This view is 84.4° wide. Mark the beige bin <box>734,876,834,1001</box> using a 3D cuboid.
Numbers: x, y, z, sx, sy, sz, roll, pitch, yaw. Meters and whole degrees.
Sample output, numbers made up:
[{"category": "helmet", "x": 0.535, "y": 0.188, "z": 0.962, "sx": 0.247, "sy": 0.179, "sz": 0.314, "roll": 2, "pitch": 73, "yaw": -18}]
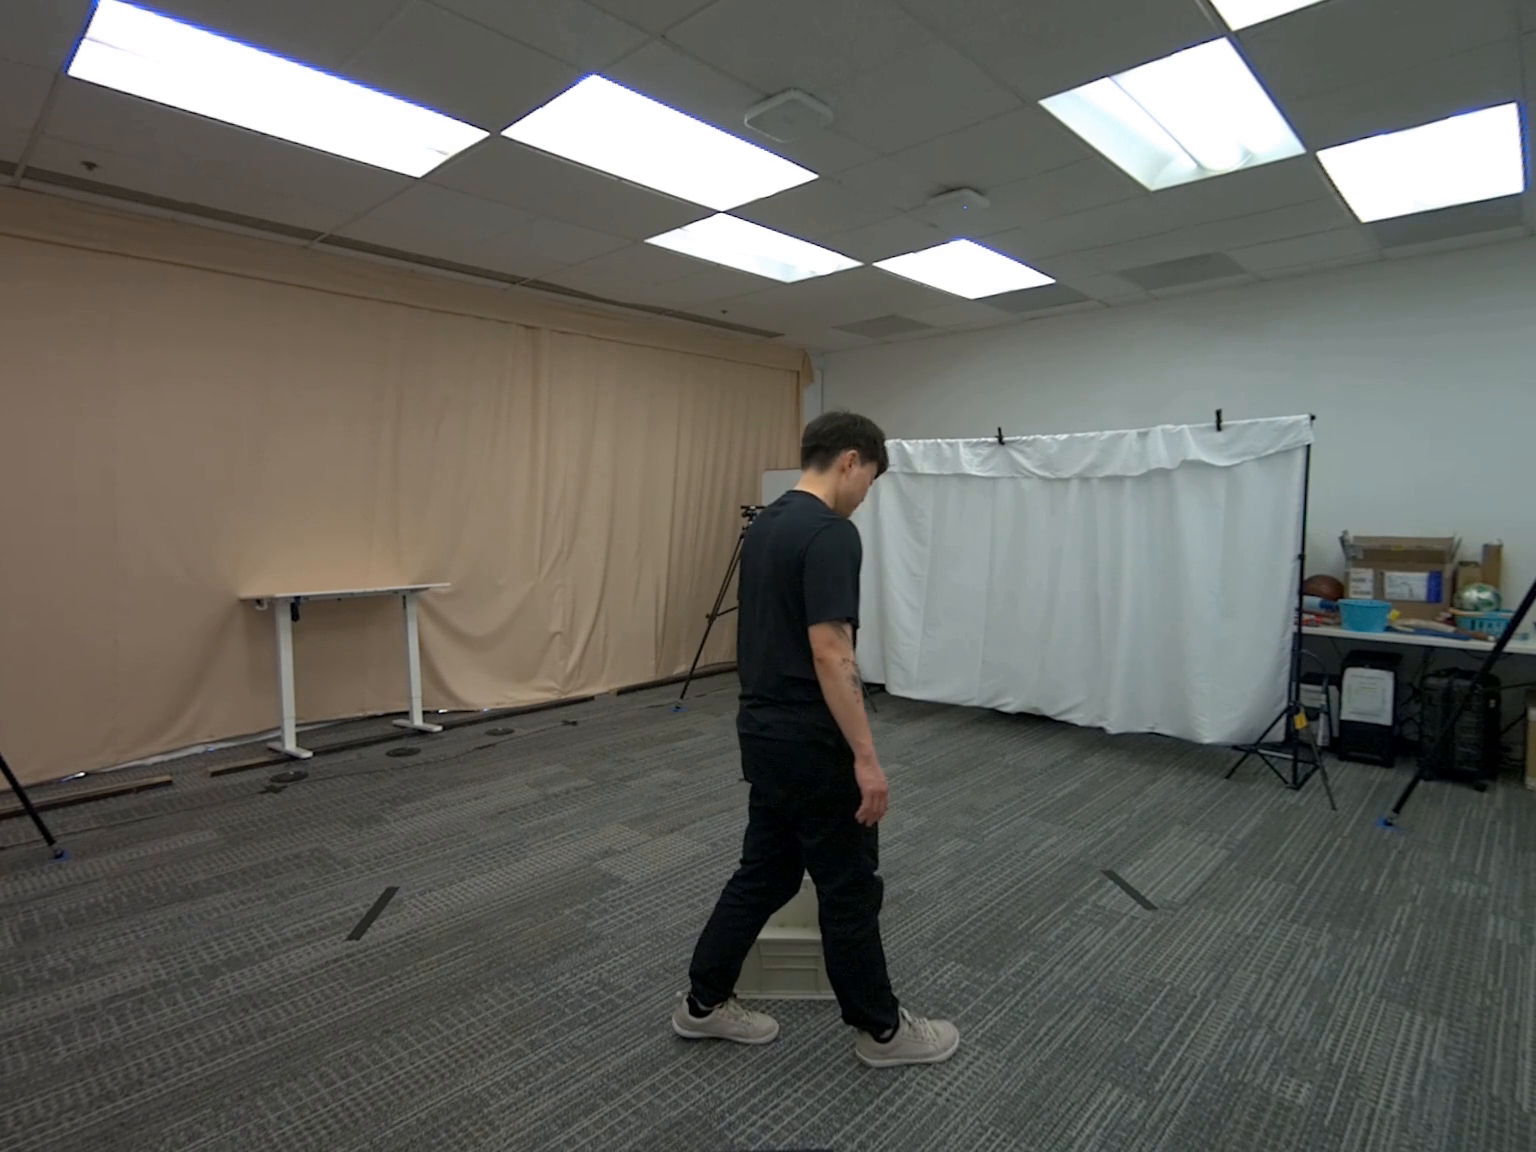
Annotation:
[{"category": "beige bin", "x": 0.049, "y": 1.098, "z": 2.570, "sx": 0.377, "sy": 0.189, "sz": 0.423, "roll": 0, "pitch": 3, "yaw": -1}]
